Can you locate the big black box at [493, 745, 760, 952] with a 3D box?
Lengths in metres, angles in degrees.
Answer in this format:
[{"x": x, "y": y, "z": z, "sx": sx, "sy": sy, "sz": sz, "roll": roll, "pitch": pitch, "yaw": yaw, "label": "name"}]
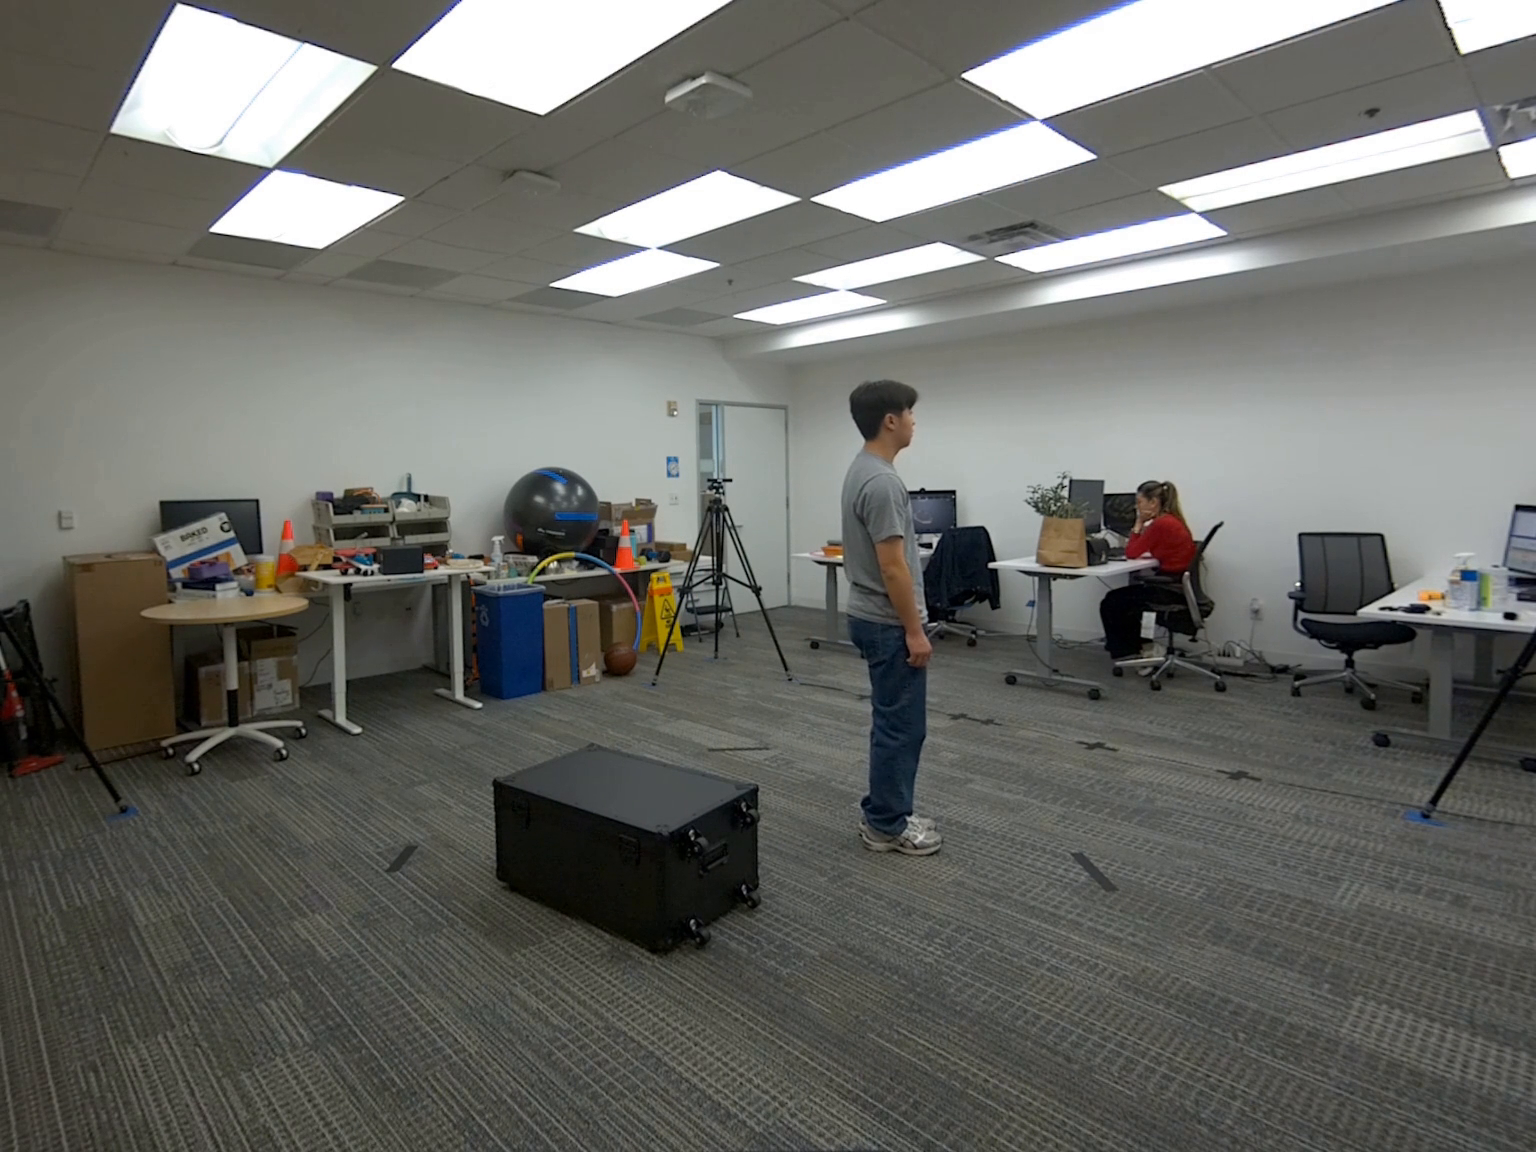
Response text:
[{"x": -0.458, "y": 0.889, "z": 2.884, "sx": 0.886, "sy": 0.395, "sz": 0.508, "roll": 3, "pitch": 6, "yaw": 35, "label": "big black box"}]
